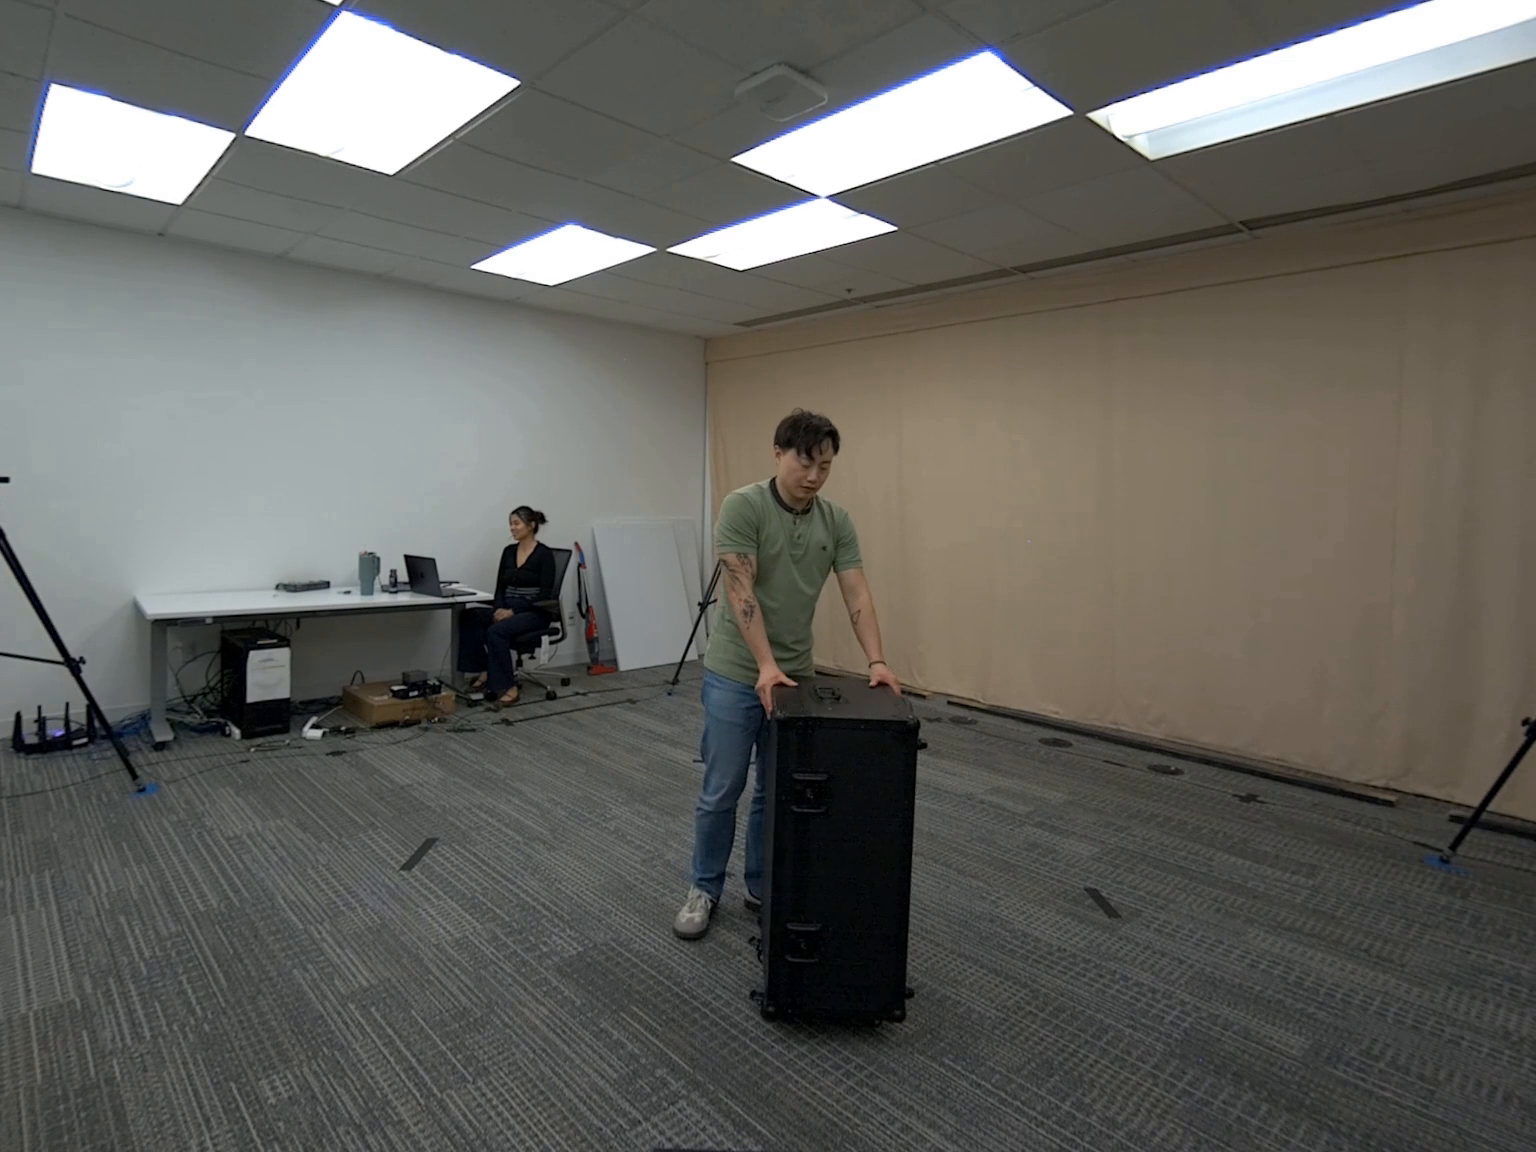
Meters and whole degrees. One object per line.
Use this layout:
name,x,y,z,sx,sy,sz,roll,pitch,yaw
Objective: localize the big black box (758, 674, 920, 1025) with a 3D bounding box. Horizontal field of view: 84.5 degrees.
big black box,0.181,0.758,2.355,0.396,0.859,0.523,3,4,-1
